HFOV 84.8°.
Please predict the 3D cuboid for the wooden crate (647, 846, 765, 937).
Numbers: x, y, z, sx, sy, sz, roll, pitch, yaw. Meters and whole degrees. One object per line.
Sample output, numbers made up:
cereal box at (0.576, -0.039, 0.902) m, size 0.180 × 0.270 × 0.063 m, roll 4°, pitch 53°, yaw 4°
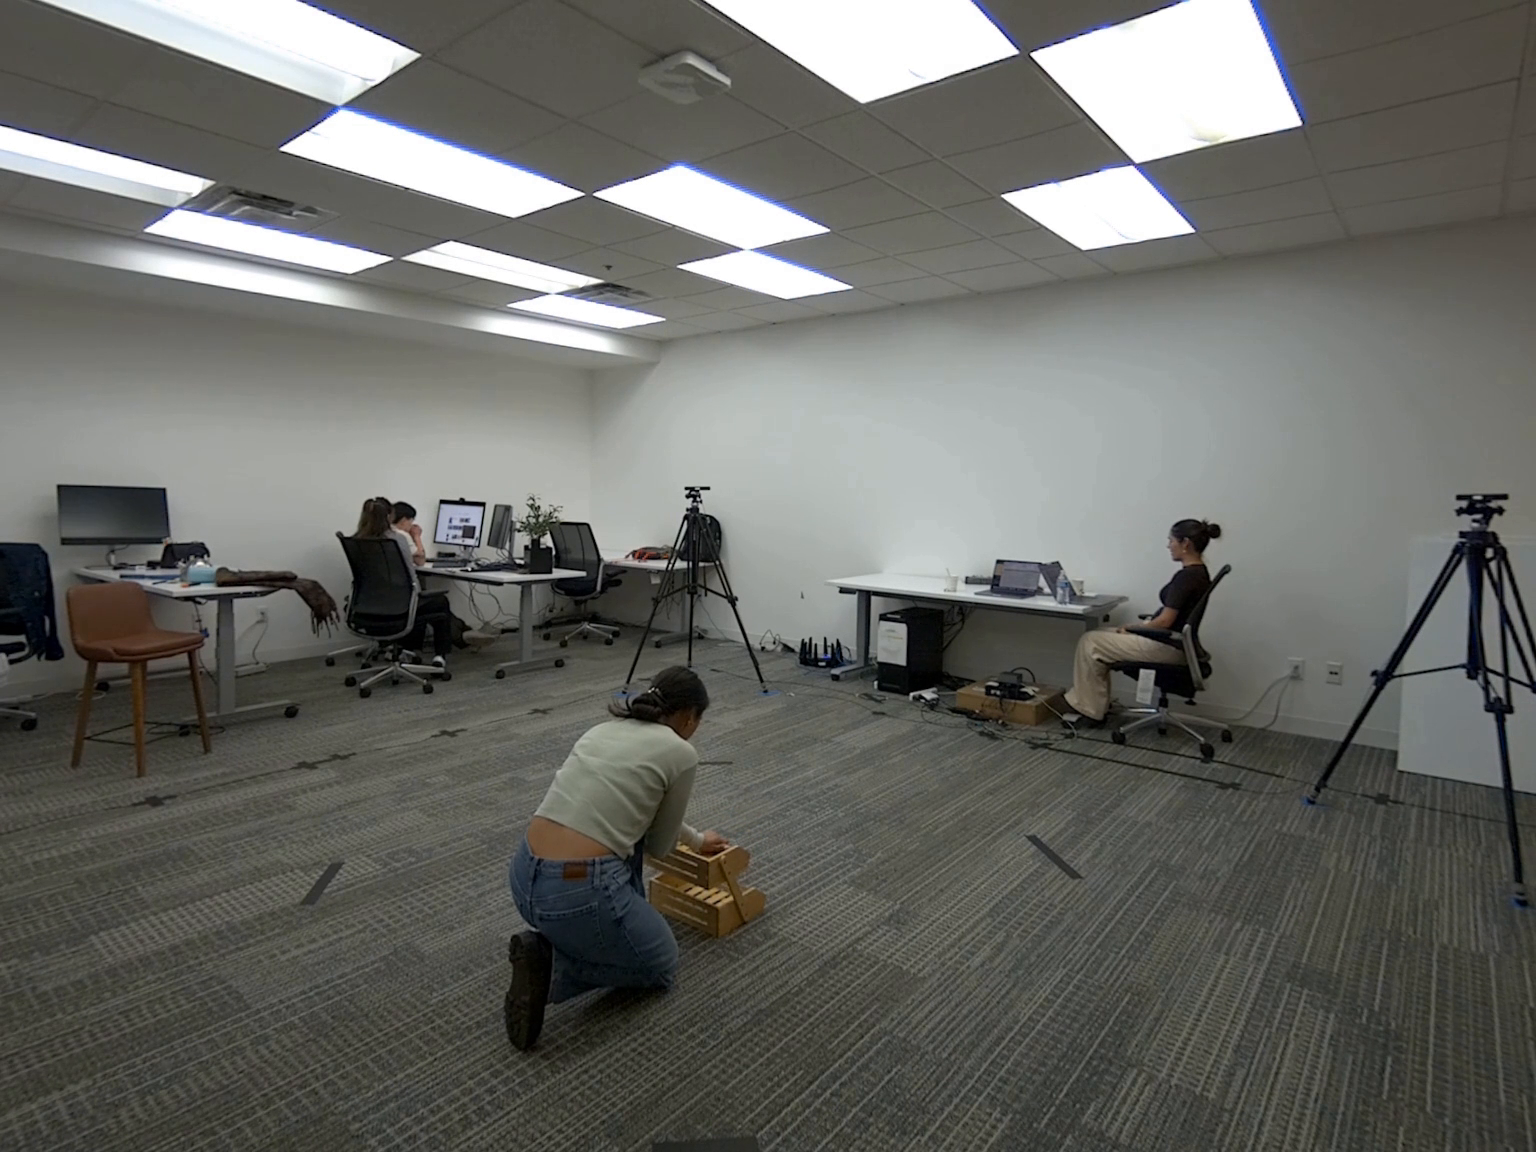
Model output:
wooden crate at (-0.218, 0.959, 2.787) m, size 0.335 × 0.272 × 0.293 m, roll 4°, pitch 6°, yaw 37°
